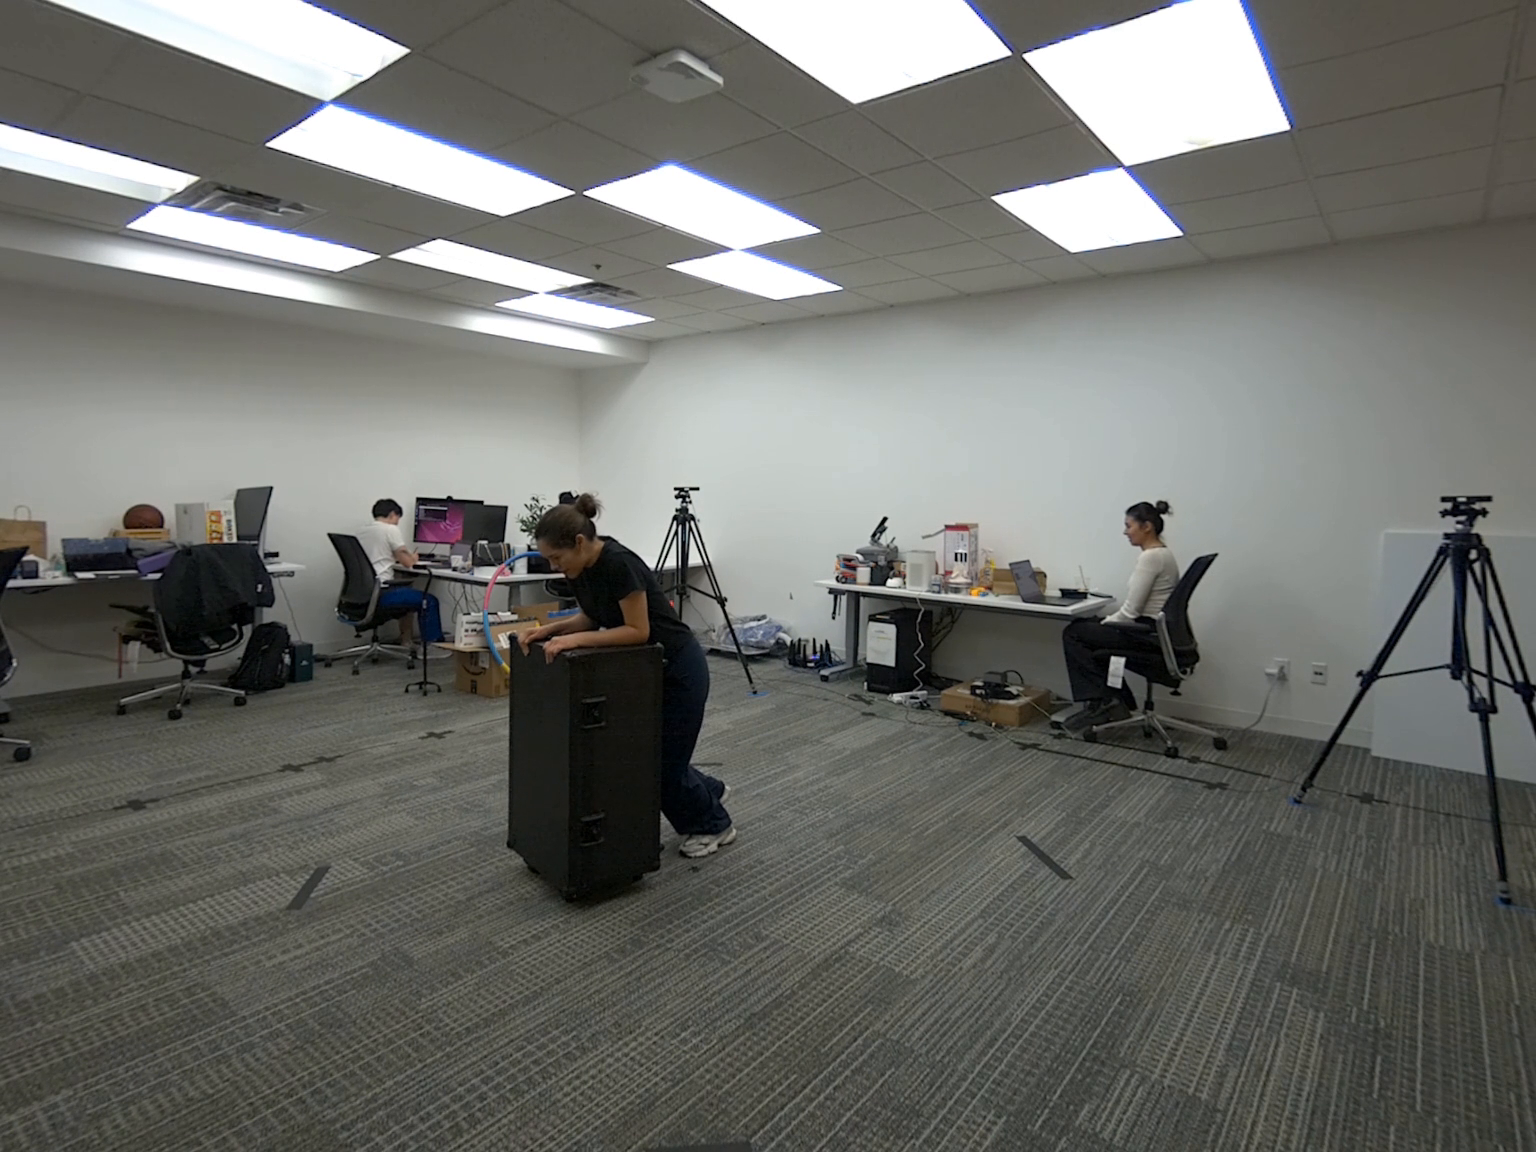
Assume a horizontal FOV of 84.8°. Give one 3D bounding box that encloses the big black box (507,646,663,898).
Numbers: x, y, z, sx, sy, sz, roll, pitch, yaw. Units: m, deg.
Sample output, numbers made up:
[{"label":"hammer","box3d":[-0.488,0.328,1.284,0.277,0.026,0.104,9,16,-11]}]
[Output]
[{"label":"big black box","box3d":[-0.633,0.586,3.022,0.384,0.859,0.539,-1,4,-38]}]
